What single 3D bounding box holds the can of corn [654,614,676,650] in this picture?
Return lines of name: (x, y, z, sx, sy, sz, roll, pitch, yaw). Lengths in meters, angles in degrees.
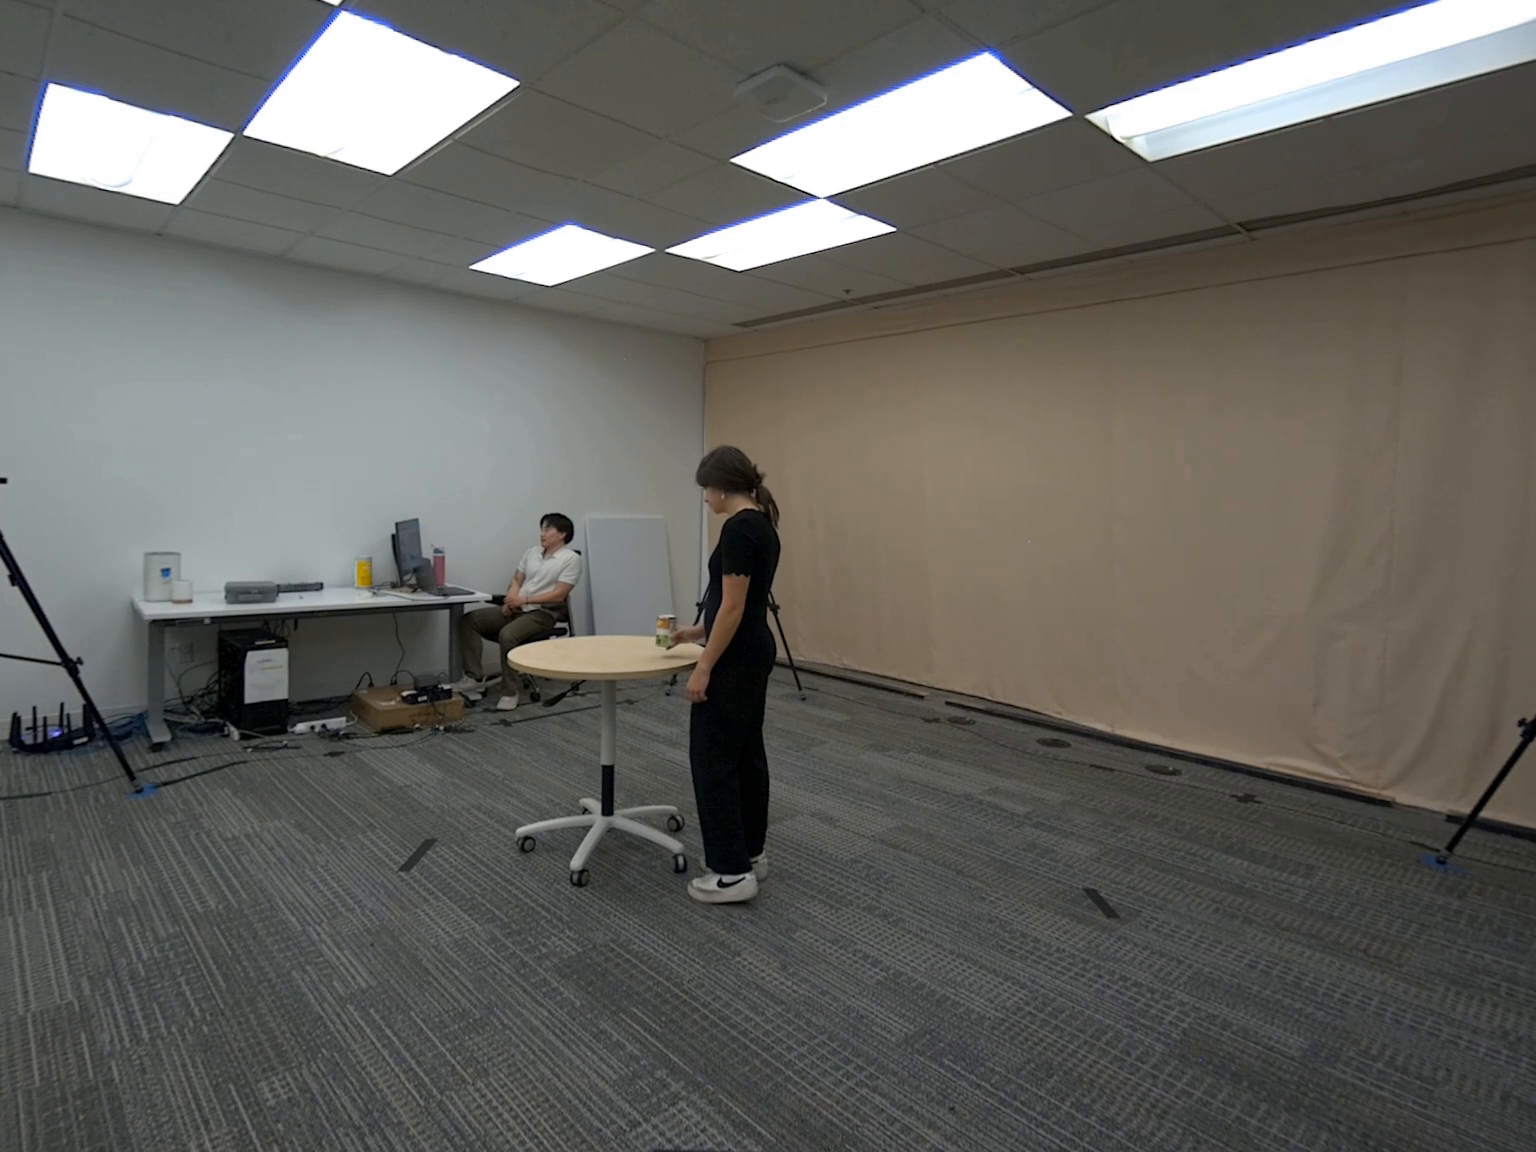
can of corn: (-0.386, 0.211, 3.179, 0.074, 0.111, 0.074, 3, 1, -1)
